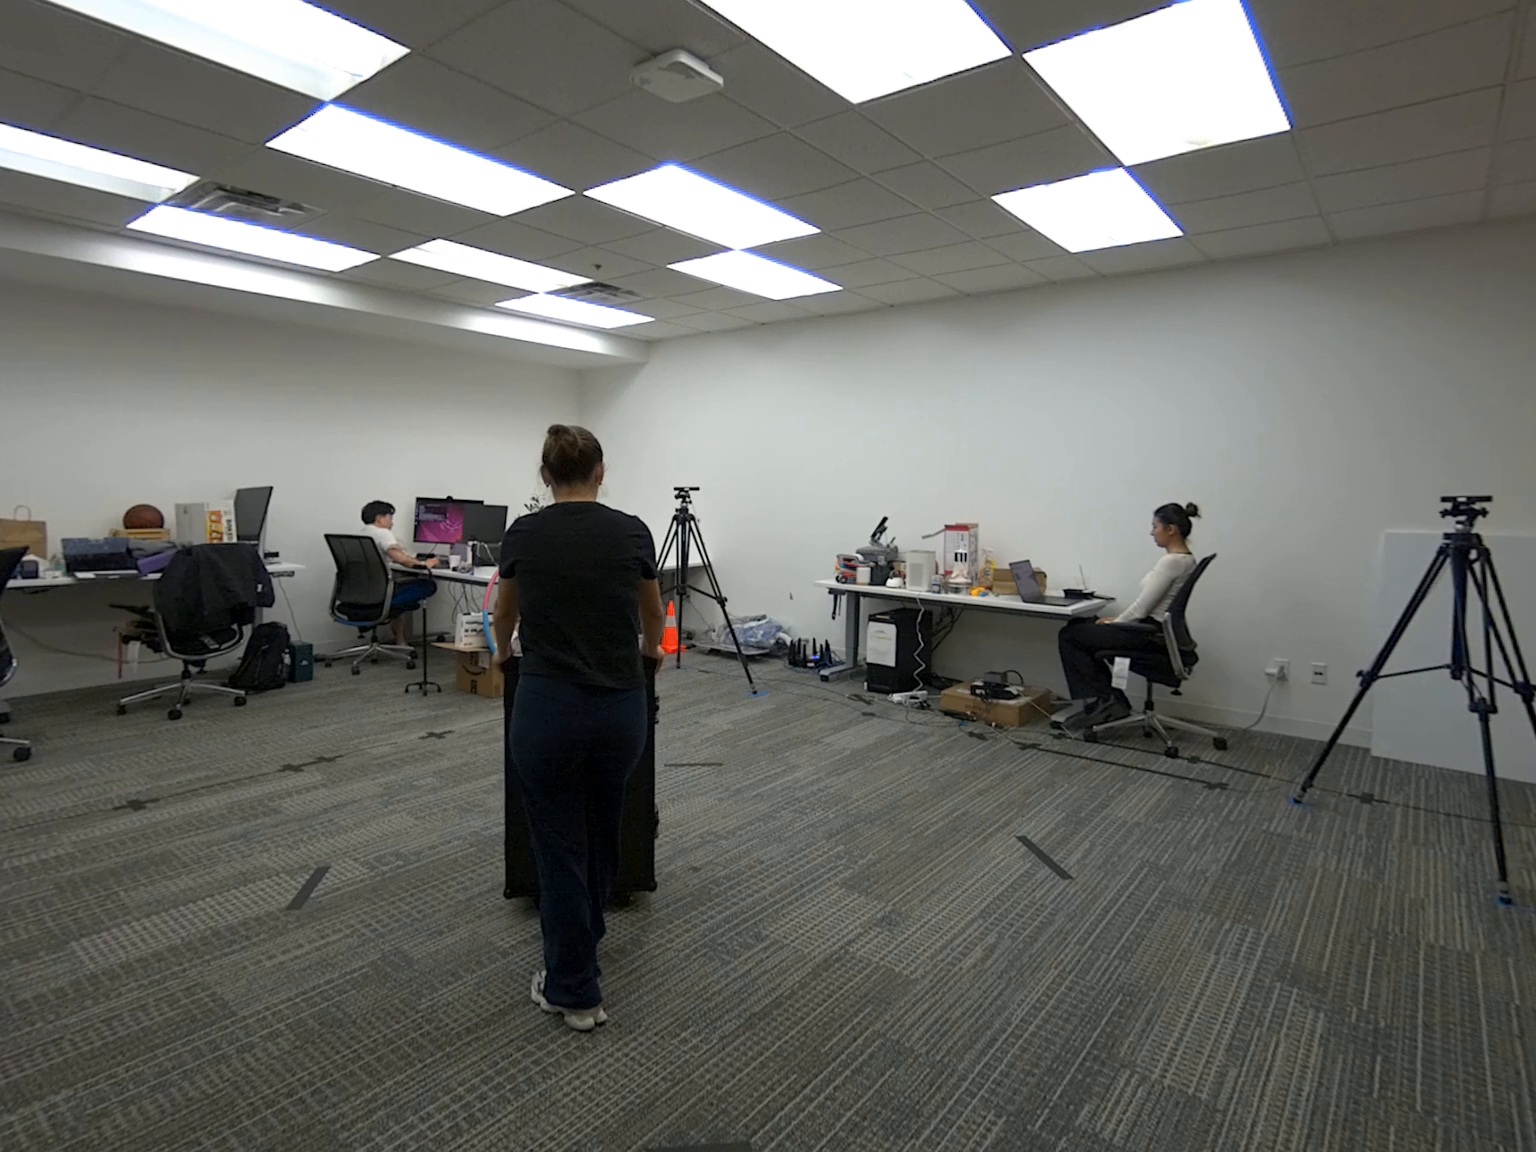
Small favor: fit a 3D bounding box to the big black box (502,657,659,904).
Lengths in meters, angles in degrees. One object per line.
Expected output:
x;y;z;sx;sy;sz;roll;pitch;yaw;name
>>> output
-0.628;0.656;2.924;0.517;0.859;0.401;-1;3;-8;big black box
